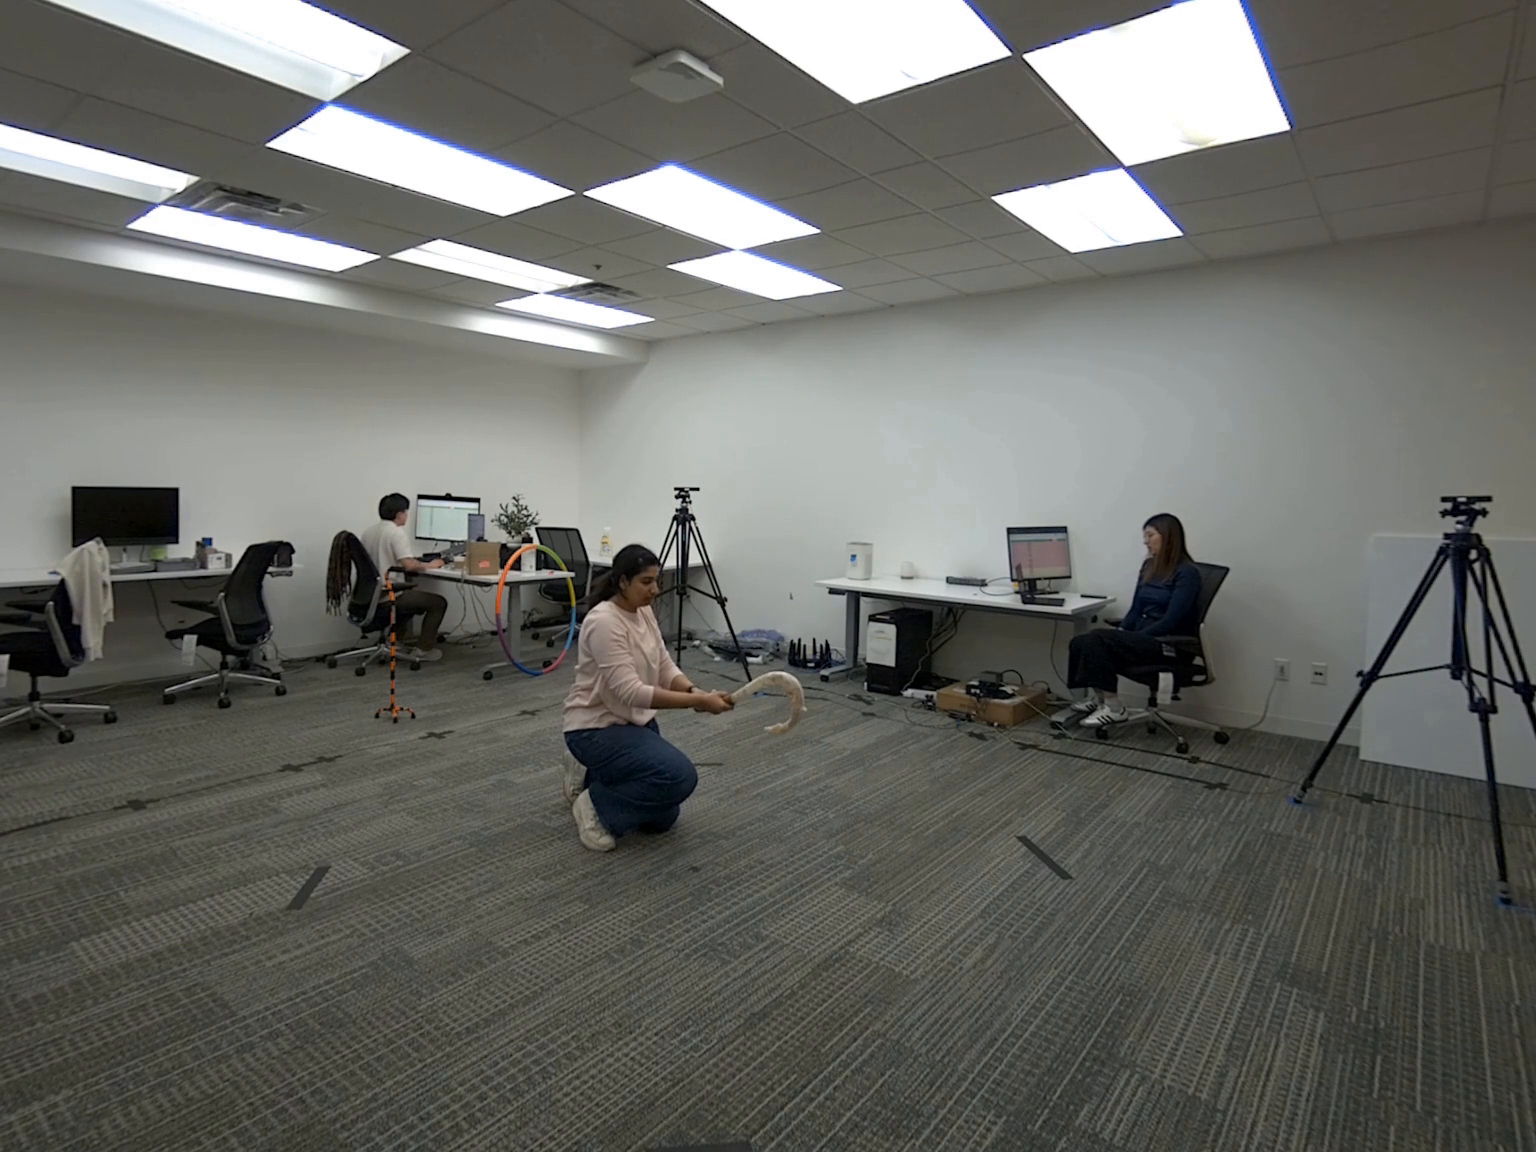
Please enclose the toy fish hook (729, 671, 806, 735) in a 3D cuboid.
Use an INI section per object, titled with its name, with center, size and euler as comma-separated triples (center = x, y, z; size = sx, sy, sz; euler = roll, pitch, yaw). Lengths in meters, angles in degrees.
[toy fish hook]
center = -0.090, 0.483, 3.176
size = 0.516, 0.228, 0.047
euler = -18, -14, 35
